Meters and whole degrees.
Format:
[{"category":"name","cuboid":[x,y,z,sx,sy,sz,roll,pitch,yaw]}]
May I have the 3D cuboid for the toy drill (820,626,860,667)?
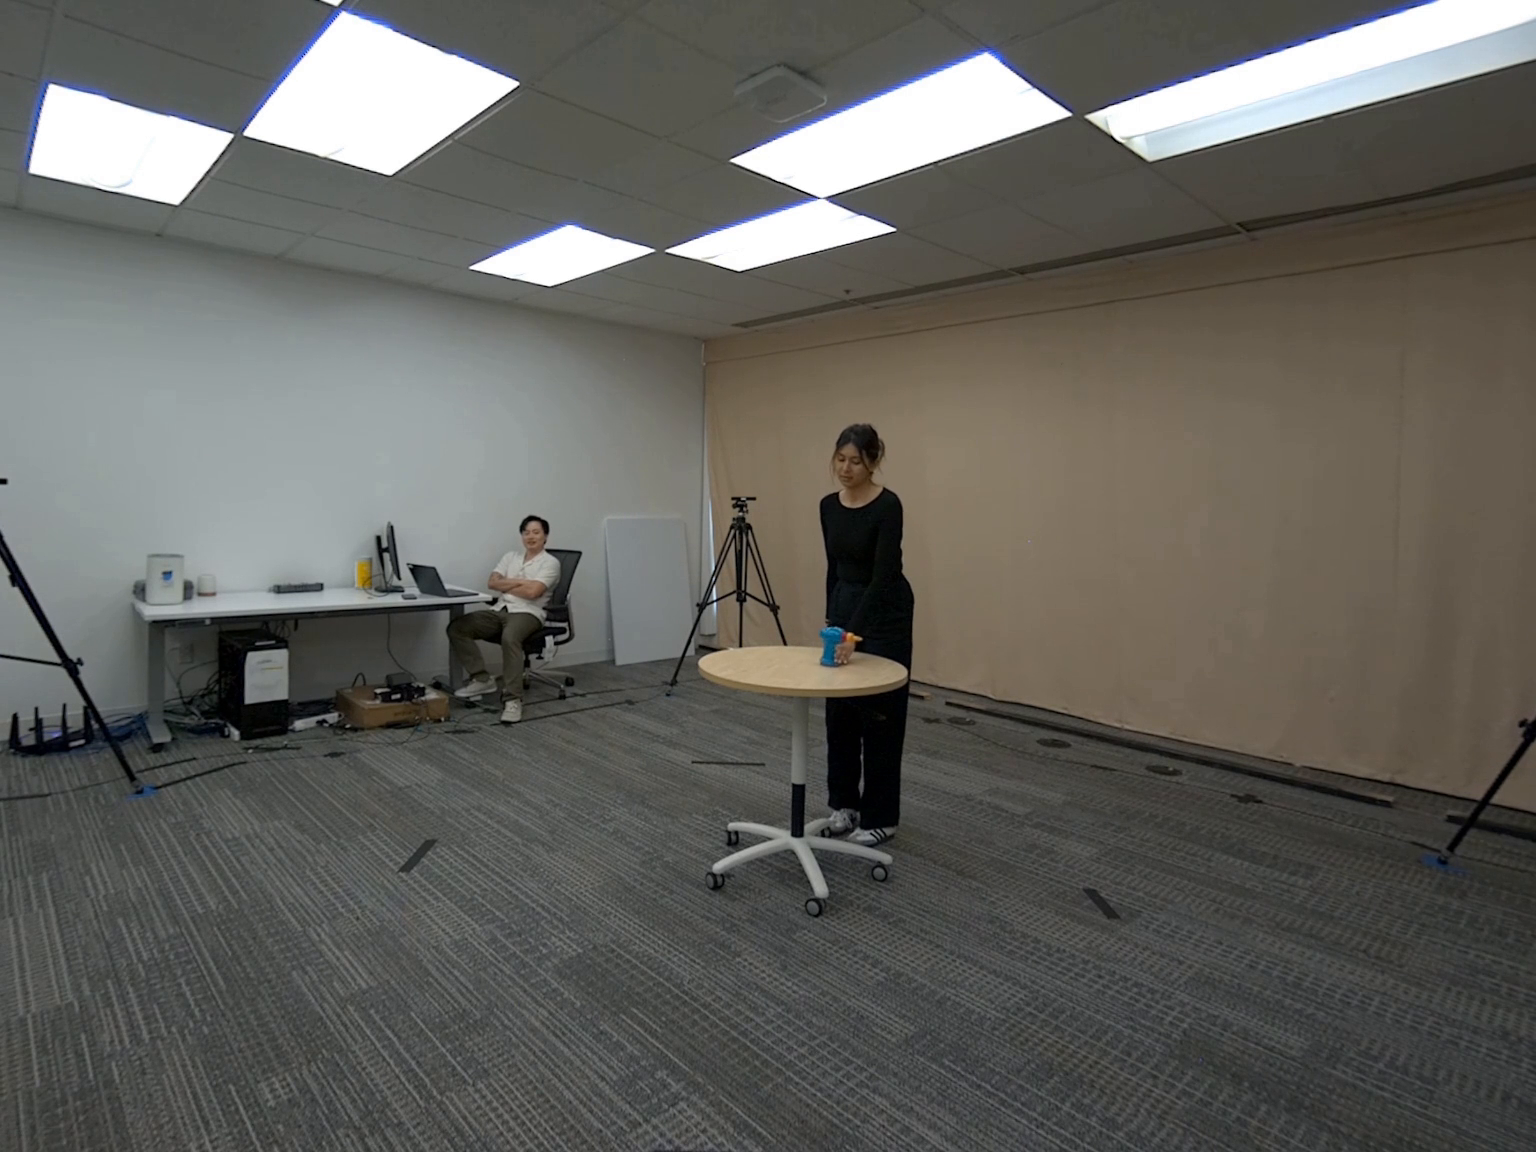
[{"category":"toy drill","cuboid":[0.250,0.261,3.089,0.173,0.145,0.060,3,5,25]}]
